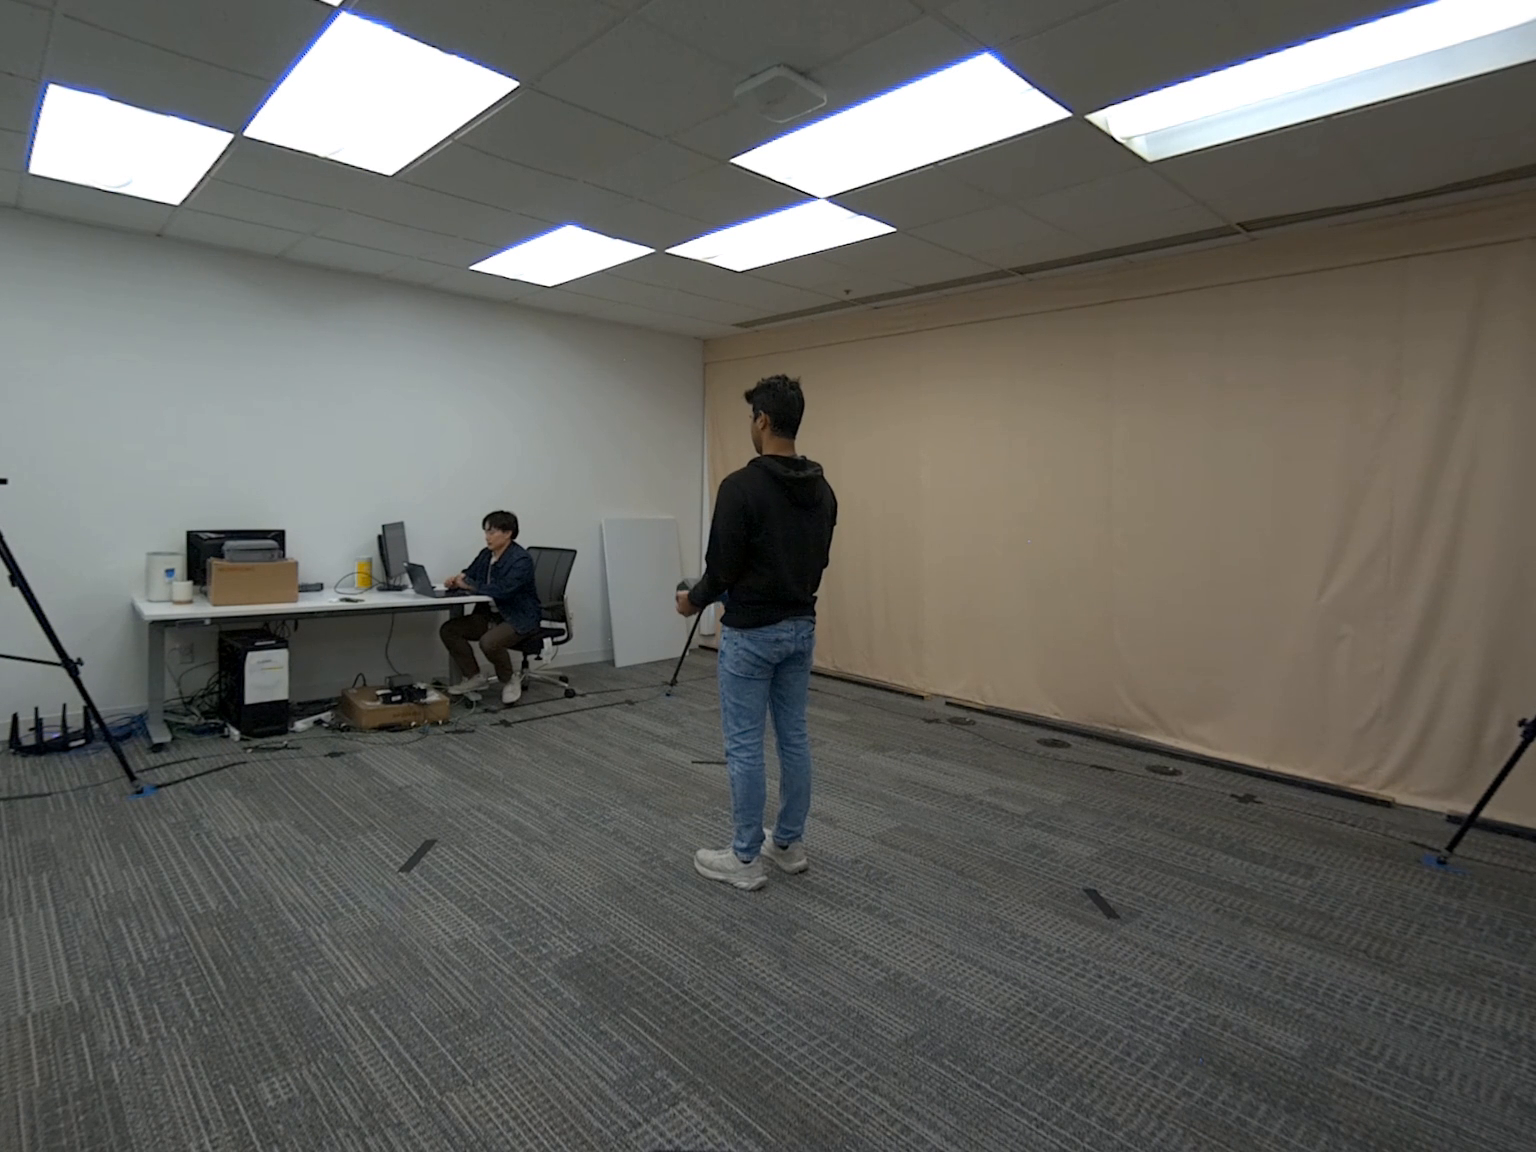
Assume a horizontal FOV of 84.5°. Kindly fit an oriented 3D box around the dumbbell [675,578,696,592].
[{"bbox_3d":[-0.207,0.062,3.296,0.287,0.122,0.112,0,9,-39],"label":"dumbbell"}]
